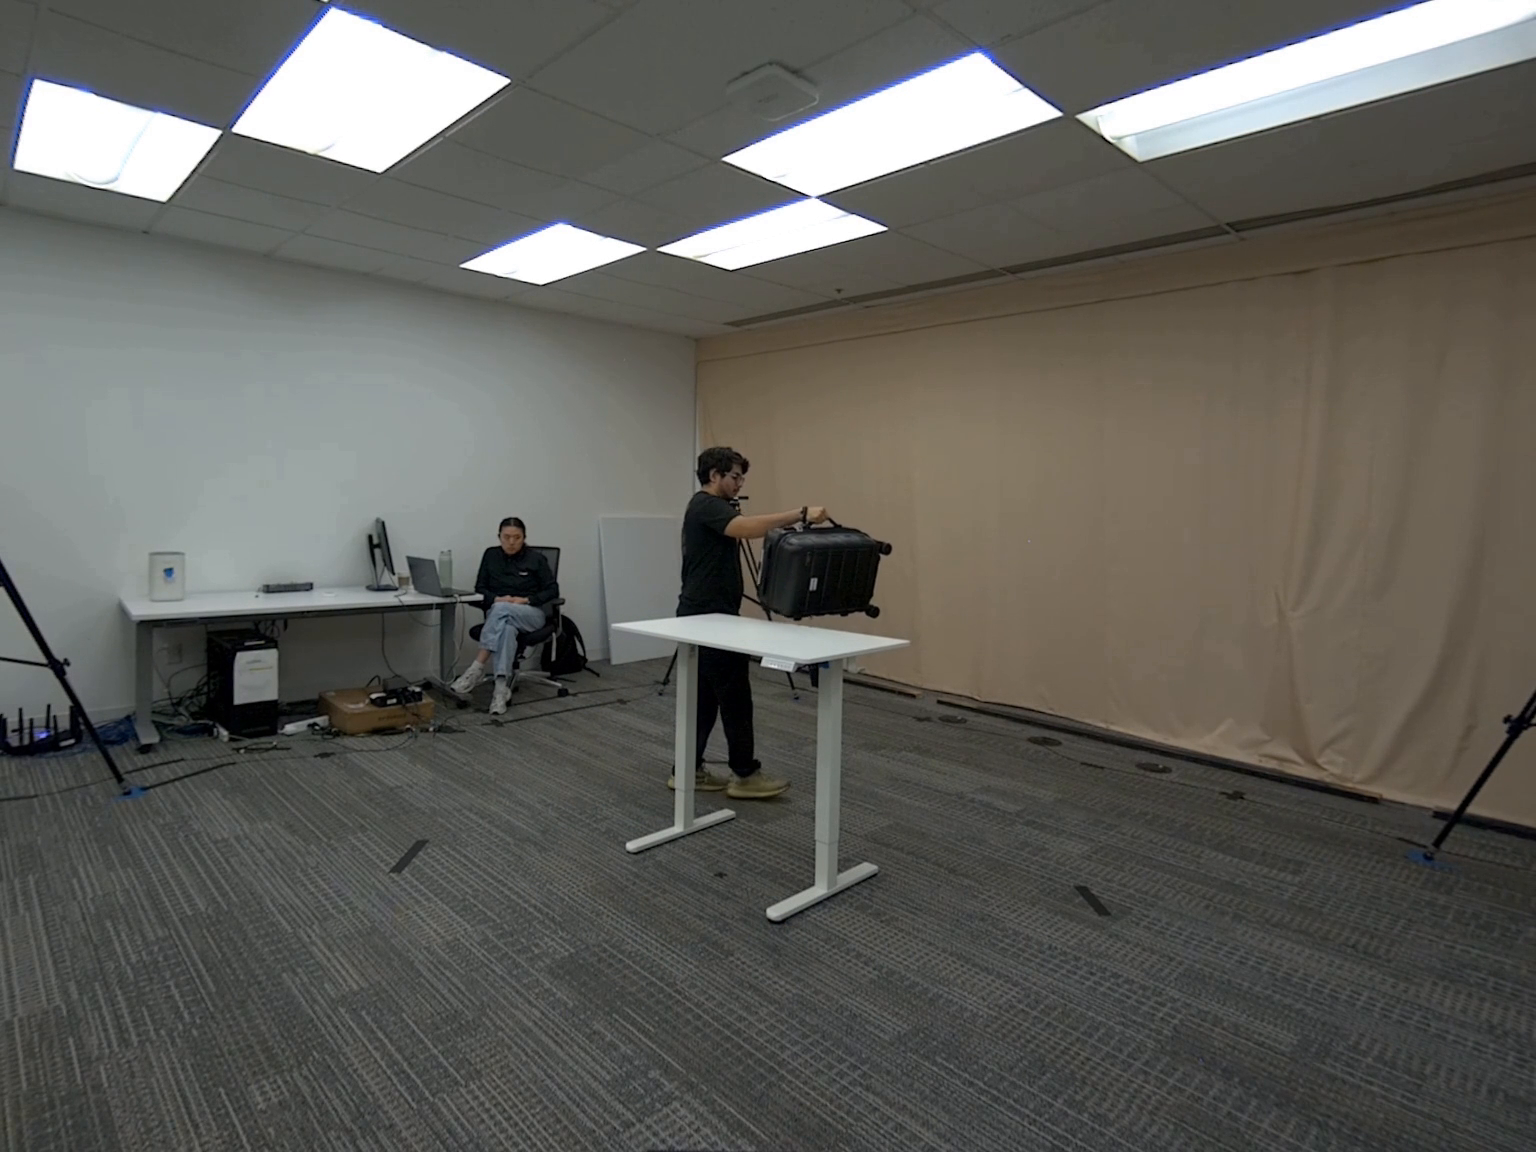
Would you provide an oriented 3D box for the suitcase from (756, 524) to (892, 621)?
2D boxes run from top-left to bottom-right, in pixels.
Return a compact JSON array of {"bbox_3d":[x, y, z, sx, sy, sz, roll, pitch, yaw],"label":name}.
[{"bbox_3d":[0.225,-0.013,3.636,0.538,0.372,0.256,-2,18,-34],"label":"suitcase"}]
